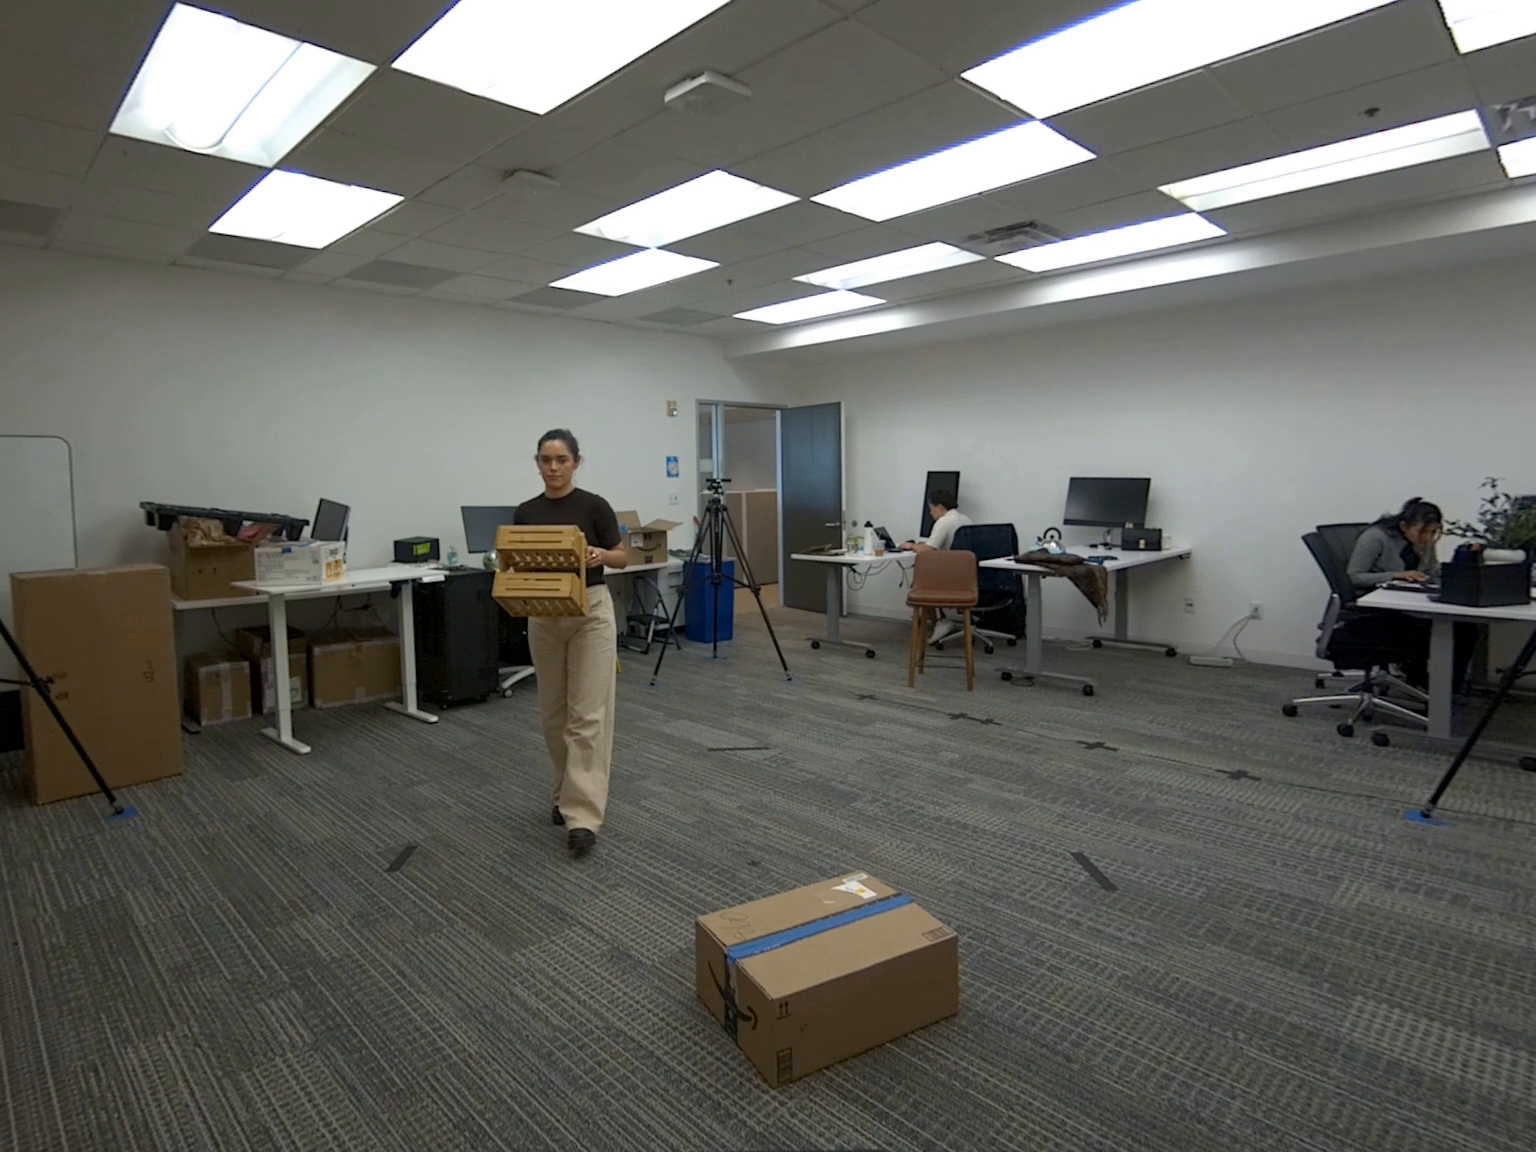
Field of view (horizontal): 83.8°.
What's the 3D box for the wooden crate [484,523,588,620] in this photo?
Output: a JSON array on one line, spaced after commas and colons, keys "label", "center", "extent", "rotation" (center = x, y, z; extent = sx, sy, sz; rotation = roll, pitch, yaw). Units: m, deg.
[{"label": "wooden crate", "center": [-0.839, -0.015, 3.229], "extent": [0.326, 0.278, 0.294], "rotation": [-1, -23, 6]}]
